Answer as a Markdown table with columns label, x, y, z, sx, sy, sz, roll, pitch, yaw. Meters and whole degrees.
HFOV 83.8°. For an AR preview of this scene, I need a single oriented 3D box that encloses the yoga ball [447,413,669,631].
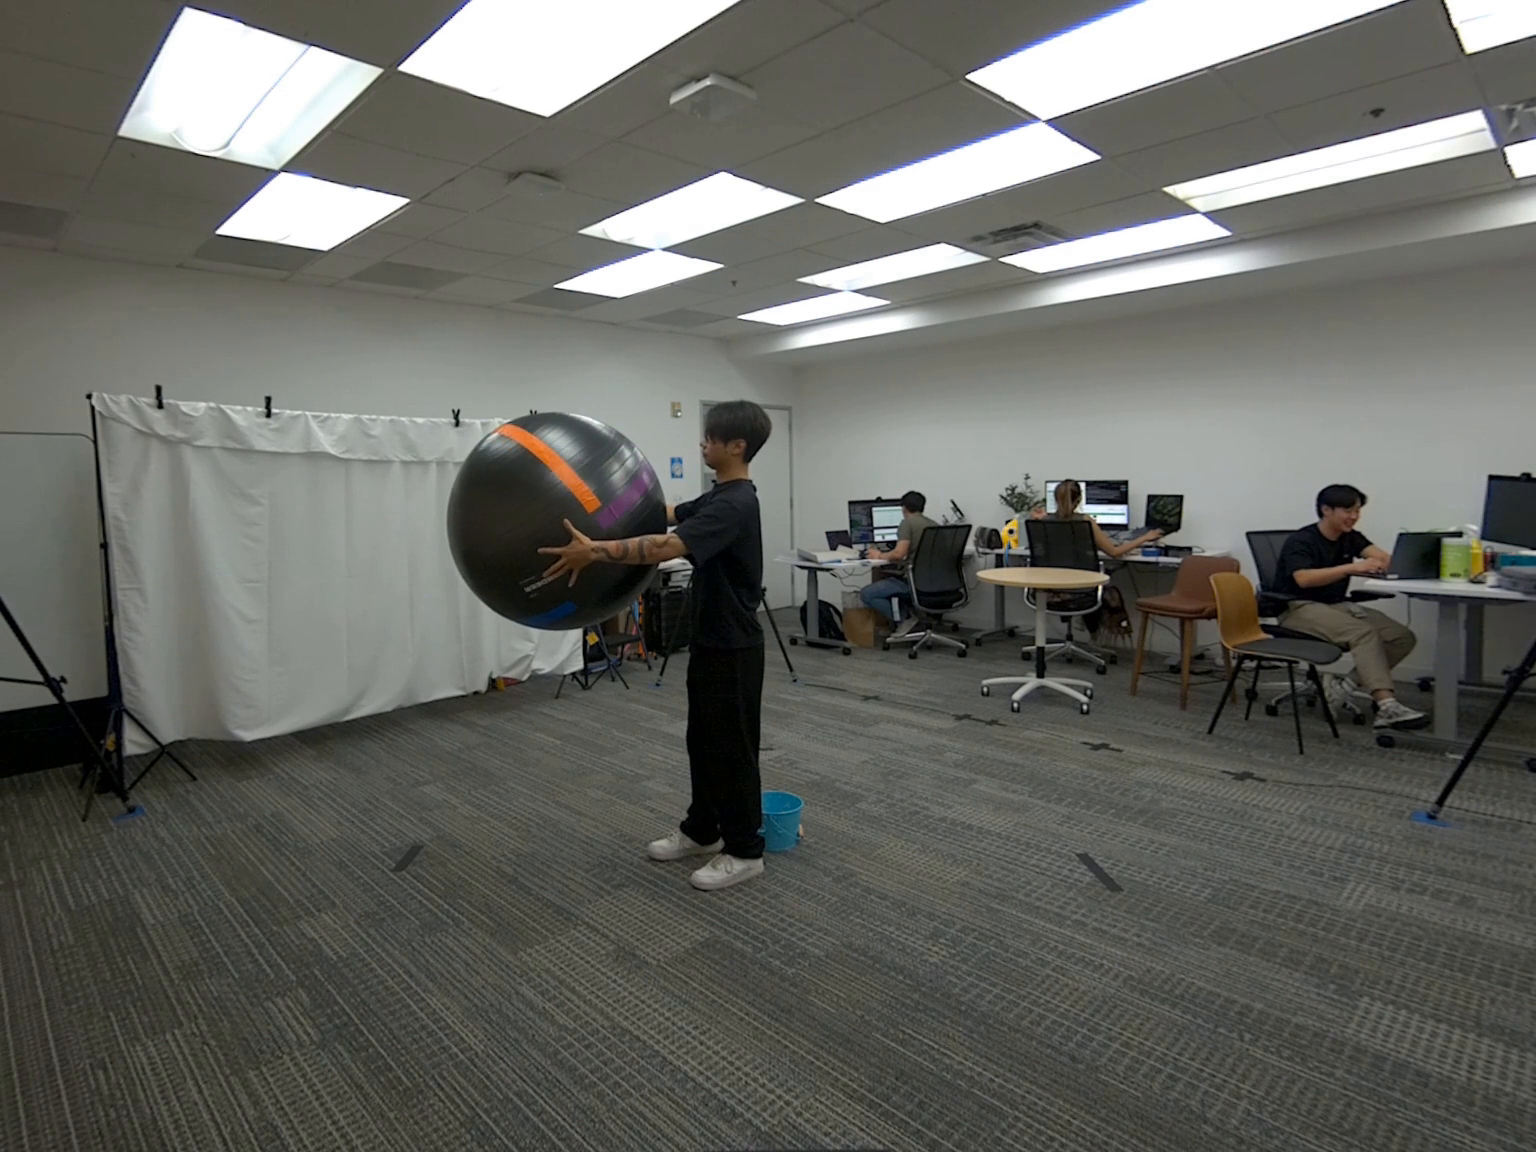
| label | x | y | z | sx | sy | sz | roll | pitch | yaw |
| --- | --- | --- | --- | --- | --- | --- | --- | --- | --- |
| yoga ball | -0.742 | -0.186 | 2.995 | 0.757 | 0.755 | 0.762 | -1 | 5 | -2 |
